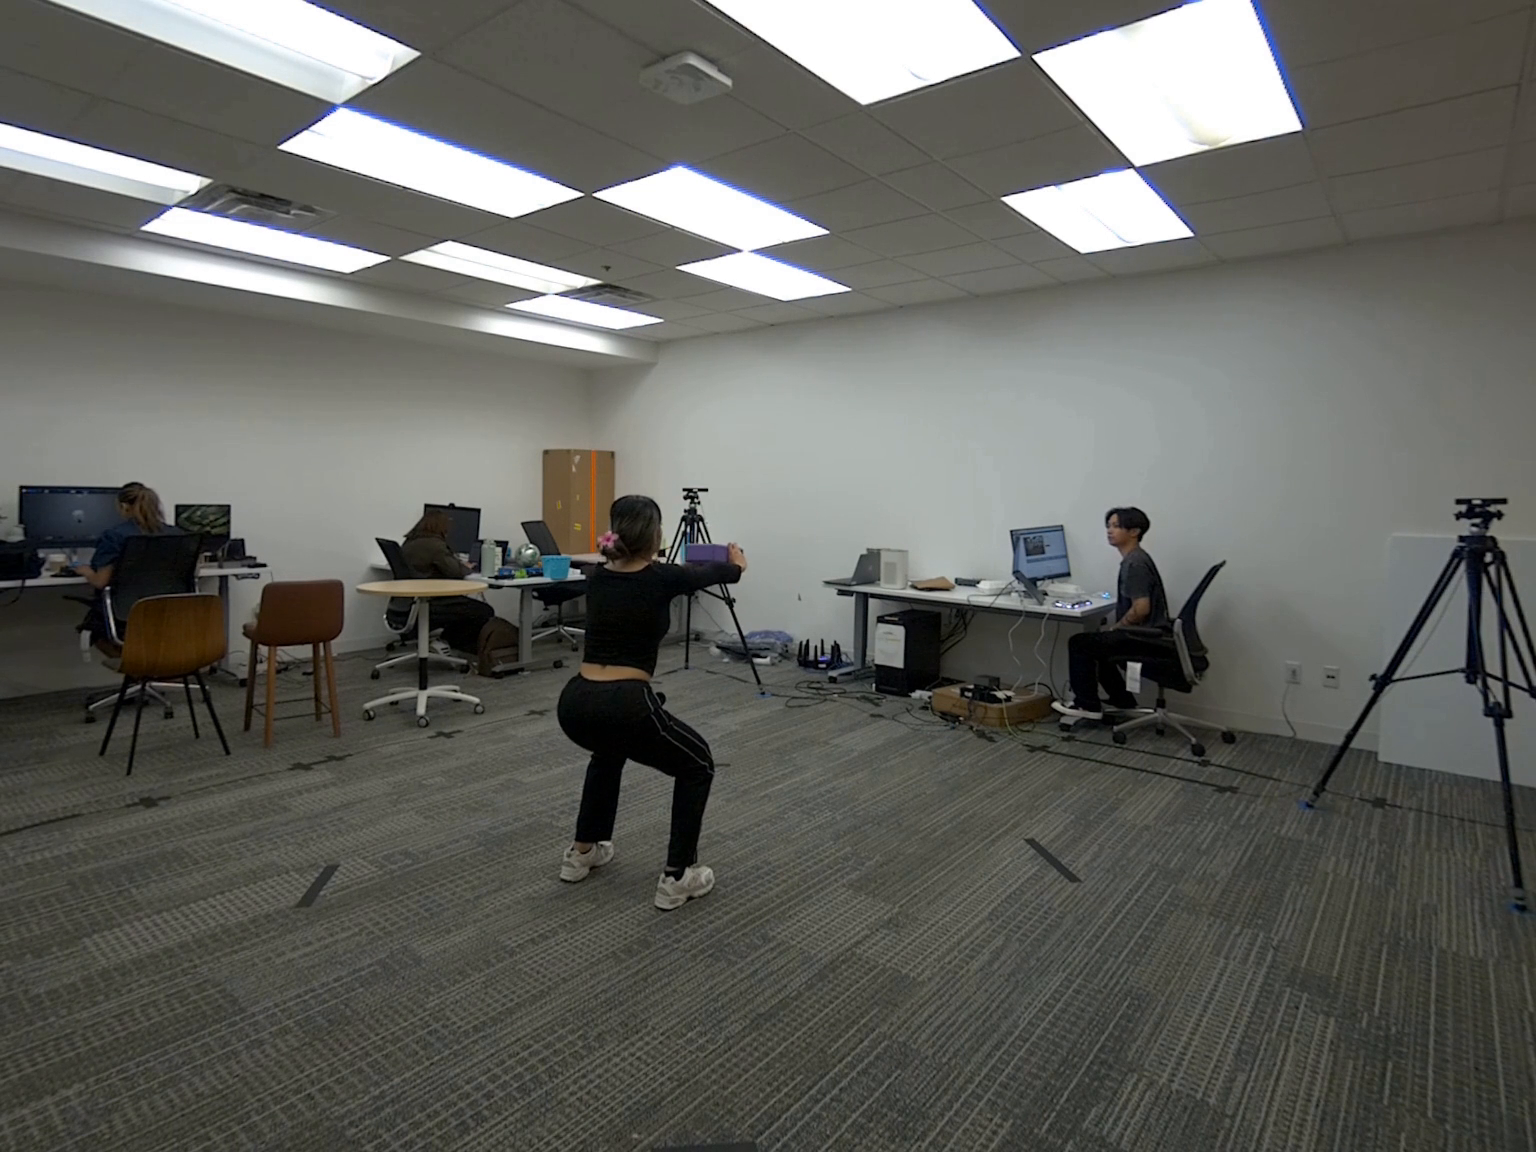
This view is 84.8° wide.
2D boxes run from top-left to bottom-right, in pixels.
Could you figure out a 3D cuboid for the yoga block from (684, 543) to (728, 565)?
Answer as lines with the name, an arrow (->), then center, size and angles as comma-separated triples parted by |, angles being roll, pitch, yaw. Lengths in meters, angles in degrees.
yoga block -> -0.231, -0.099, 3.480 | 0.153, 0.077, 0.222 | 1, -2, 29
